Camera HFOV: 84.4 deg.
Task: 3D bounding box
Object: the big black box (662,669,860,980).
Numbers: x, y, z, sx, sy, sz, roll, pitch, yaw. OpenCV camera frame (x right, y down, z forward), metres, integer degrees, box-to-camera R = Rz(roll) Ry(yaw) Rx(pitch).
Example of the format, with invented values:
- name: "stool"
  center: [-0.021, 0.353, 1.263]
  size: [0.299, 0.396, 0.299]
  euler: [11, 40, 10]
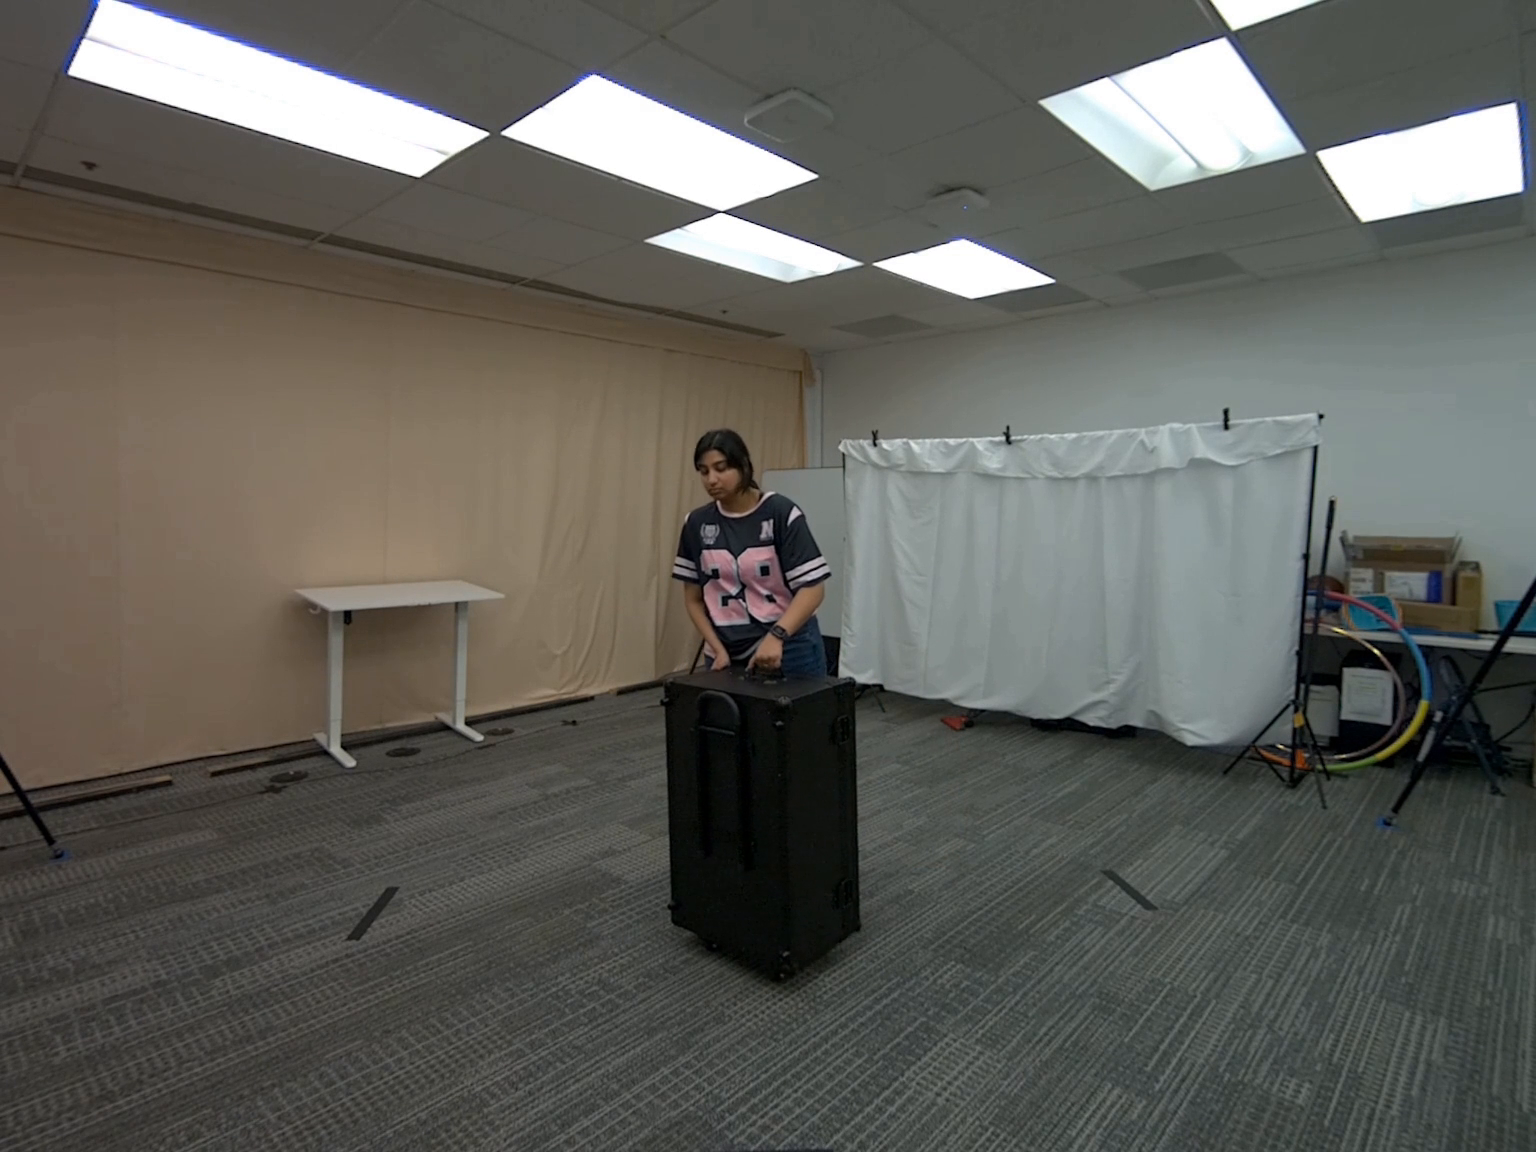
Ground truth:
- name: "big black box"
  center: [-0.015, 0.749, 2.613]
  size: [0.540, 0.867, 0.374]
  euler: [0, 4, 40]
